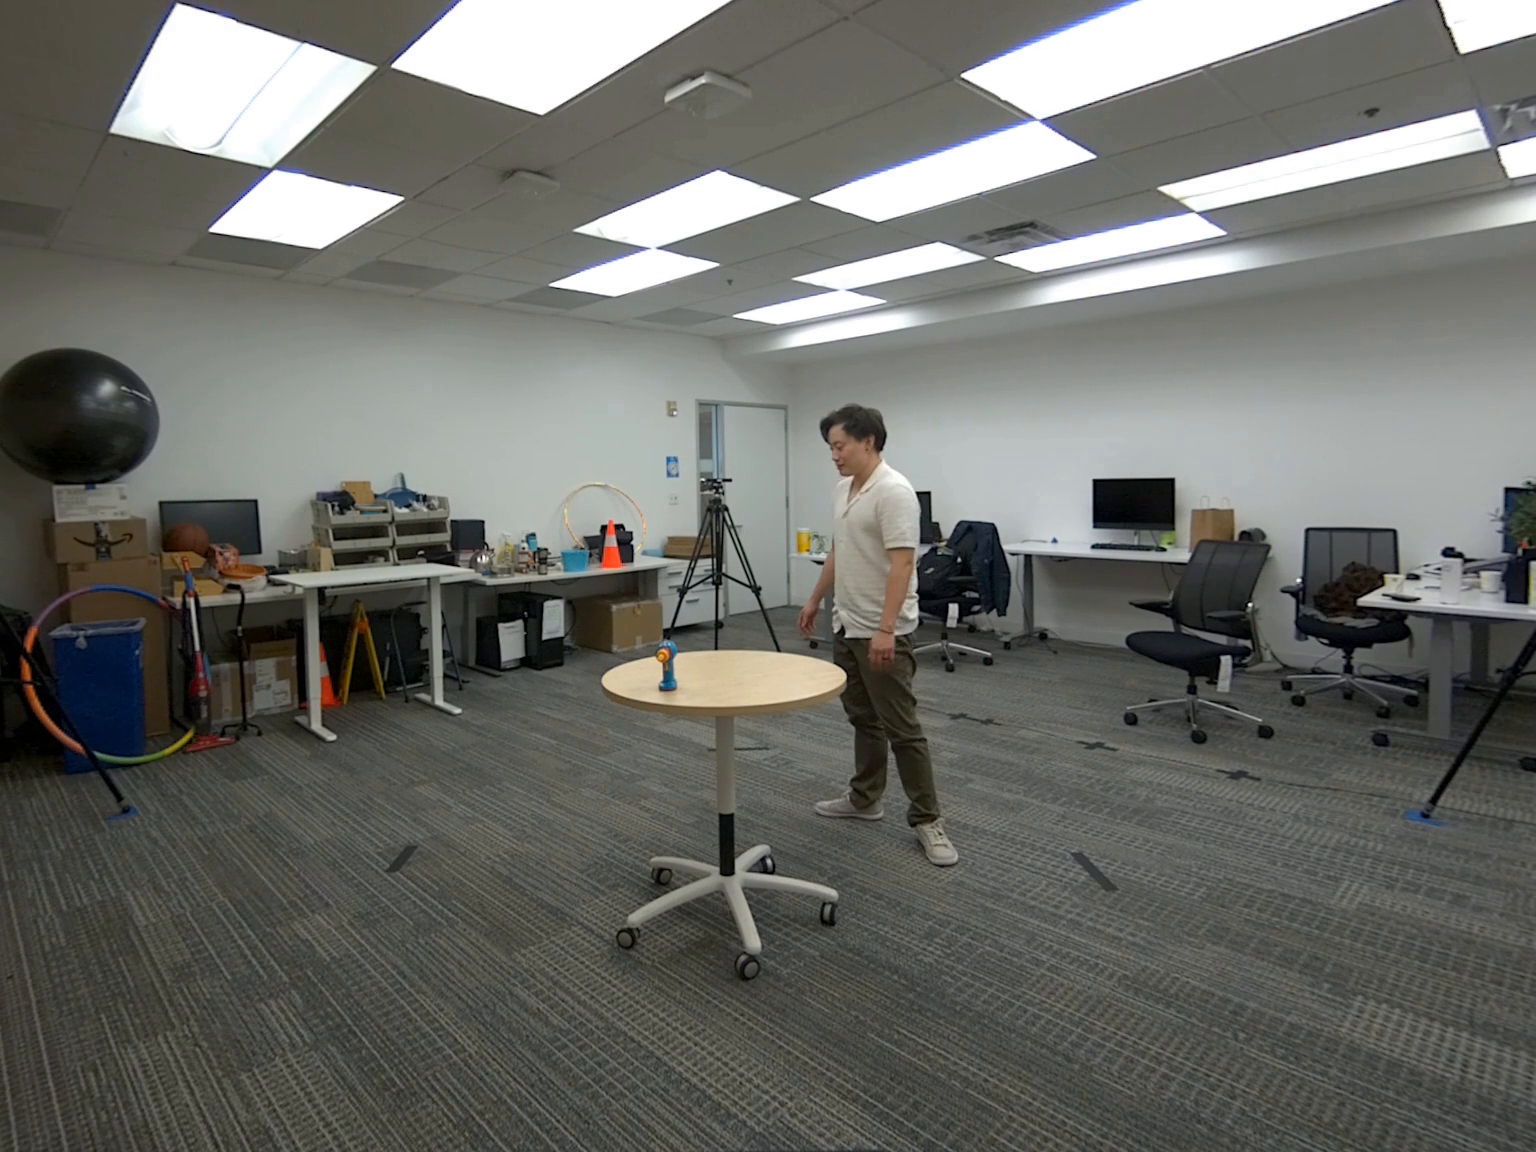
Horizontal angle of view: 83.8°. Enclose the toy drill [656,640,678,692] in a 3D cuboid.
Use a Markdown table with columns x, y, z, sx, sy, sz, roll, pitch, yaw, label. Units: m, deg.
| x | y | z | sx | sy | sz | roll | pitch | yaw | label |
| --- | --- | --- | --- | --- | --- | --- | --- | --- | --- |
| -0.289 | 0.262 | 2.483 | 0.061 | 0.145 | 0.170 | 0 | 6 | 1 | toy drill |
